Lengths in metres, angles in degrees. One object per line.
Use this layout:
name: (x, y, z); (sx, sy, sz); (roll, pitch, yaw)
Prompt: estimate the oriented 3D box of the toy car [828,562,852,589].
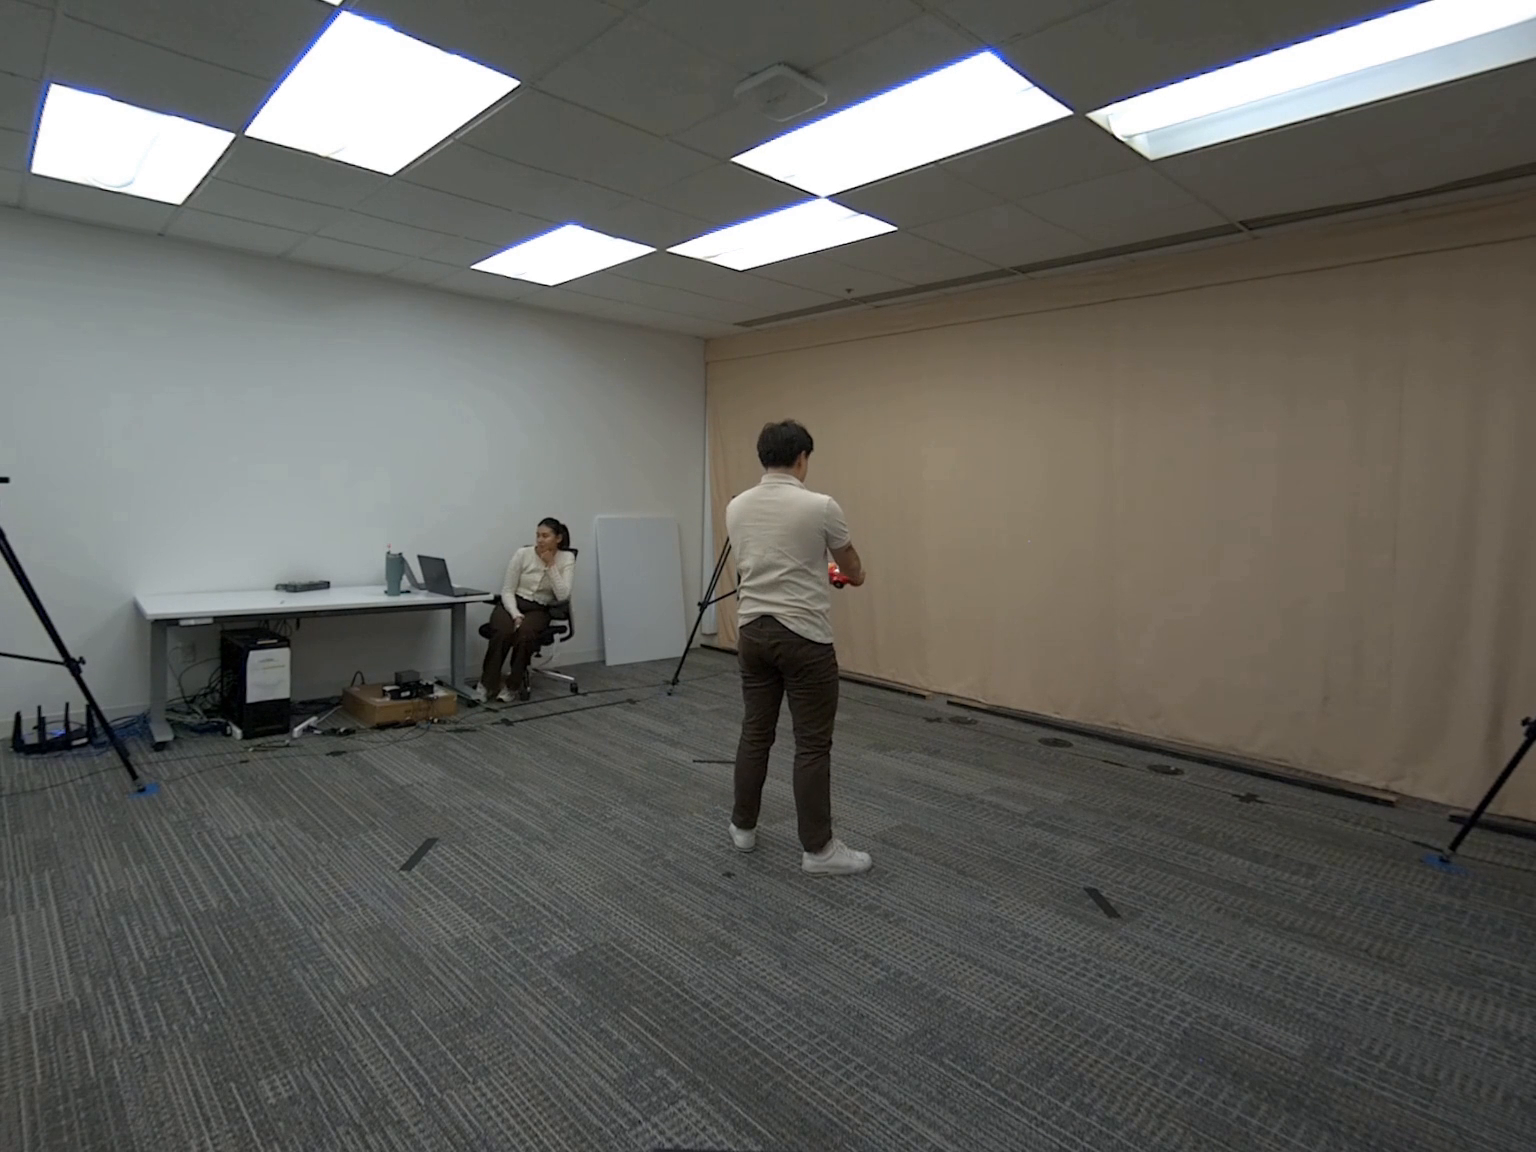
toy car: (0.262, -0.012, 3.645); (0.260, 0.081, 0.131); (-5, 35, 38)
